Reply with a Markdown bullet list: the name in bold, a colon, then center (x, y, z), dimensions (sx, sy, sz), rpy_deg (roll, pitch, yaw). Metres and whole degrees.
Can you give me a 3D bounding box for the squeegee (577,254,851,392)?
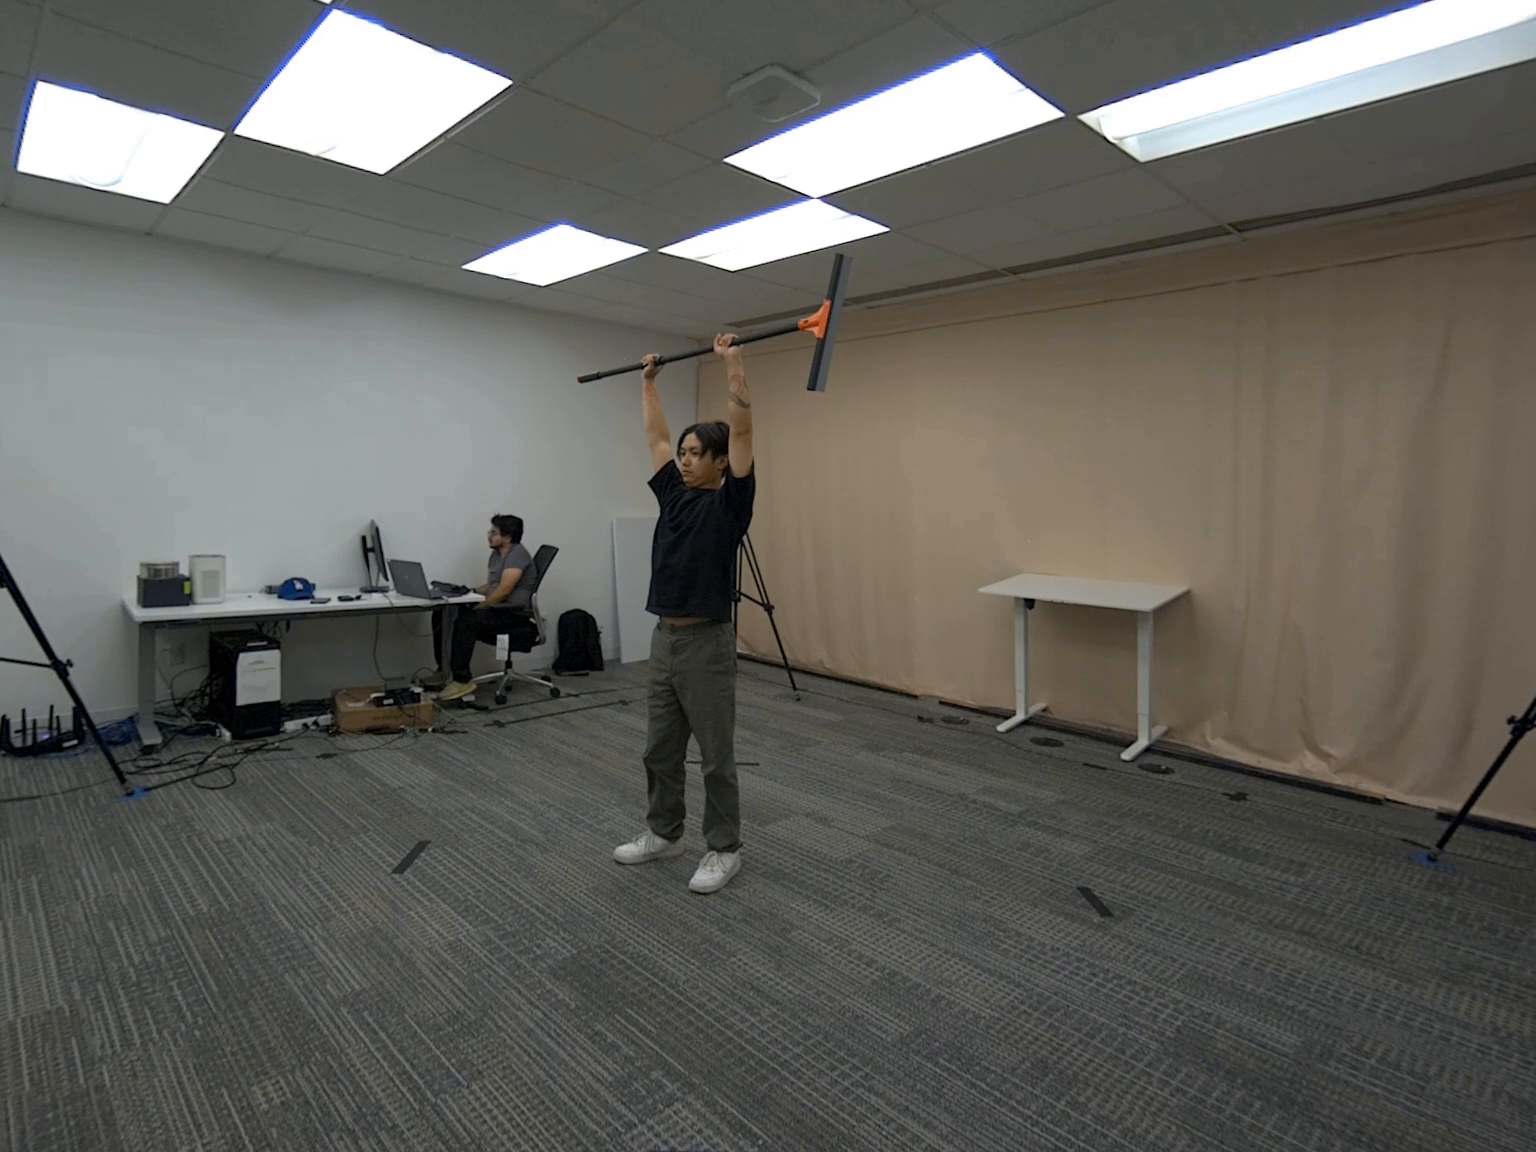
- **squeegee**: center (-0.326, -0.803, 3.078), dimensions (0.051, 0.439, 1.576), rpy_deg (14, -6, -41)
